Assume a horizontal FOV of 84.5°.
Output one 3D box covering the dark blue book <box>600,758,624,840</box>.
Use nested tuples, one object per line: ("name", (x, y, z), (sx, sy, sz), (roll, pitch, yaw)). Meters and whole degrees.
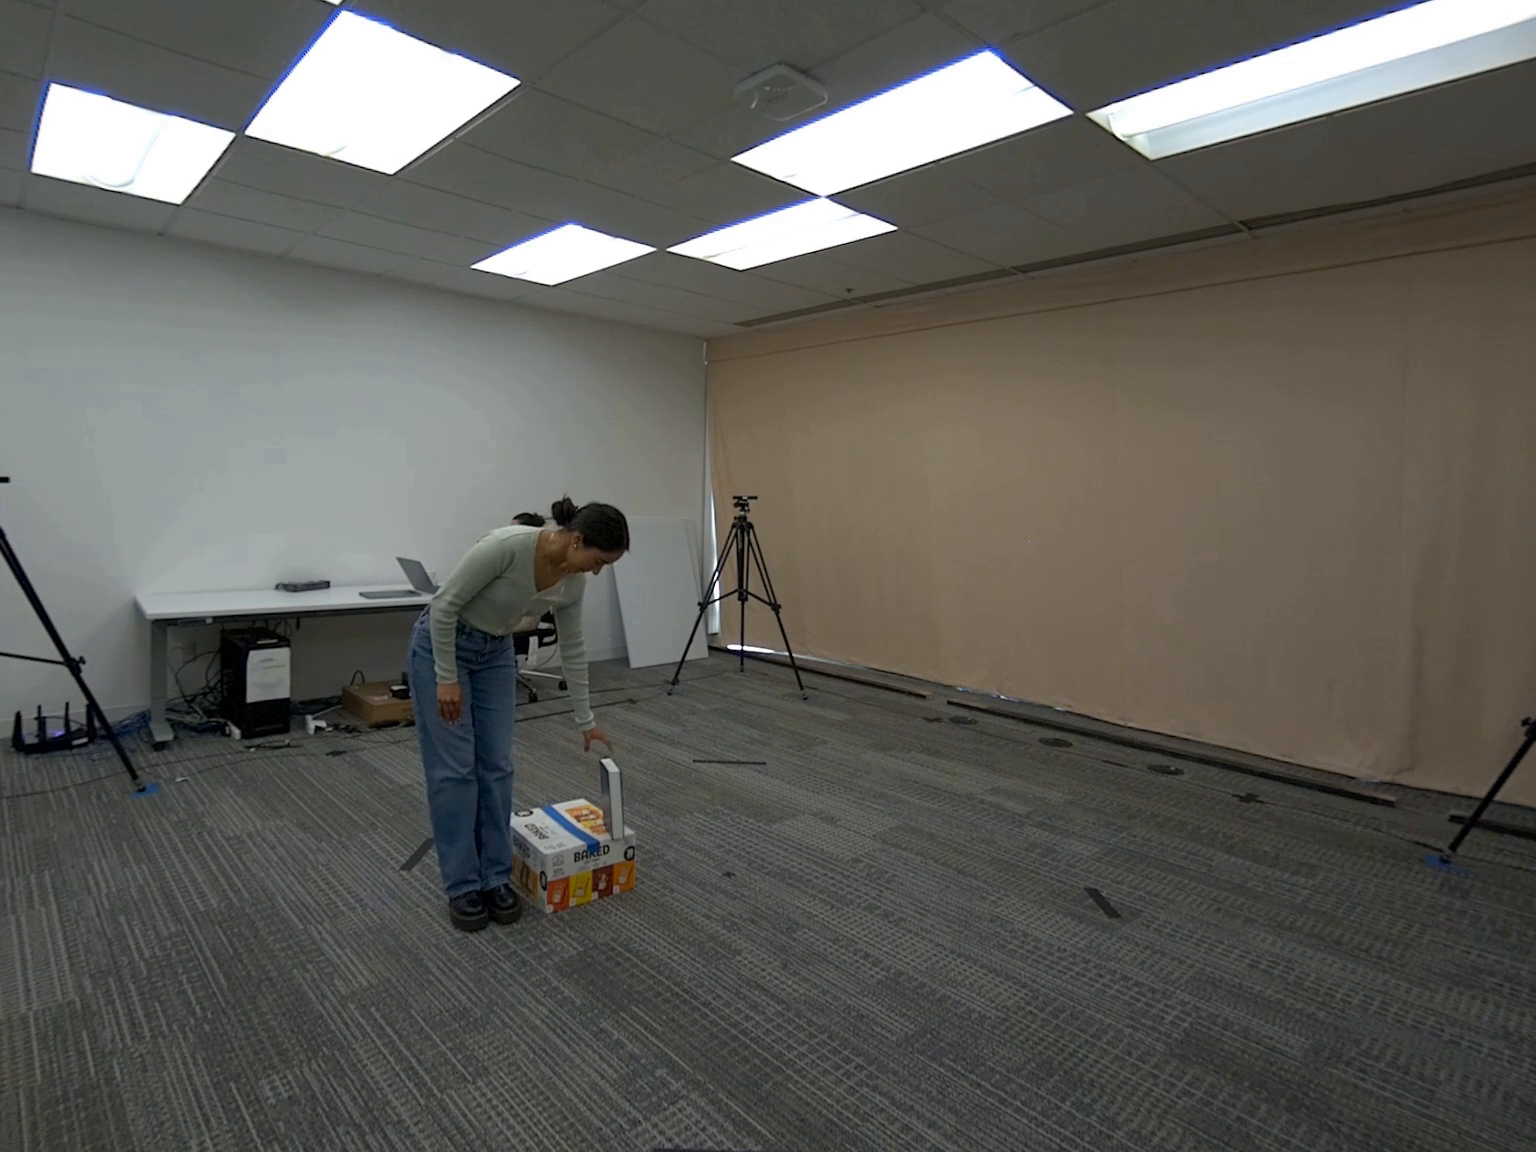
("dark blue book", (-0.561, 0.783, 2.975), (0.044, 0.244, 0.166), (-2, 4, -22))
